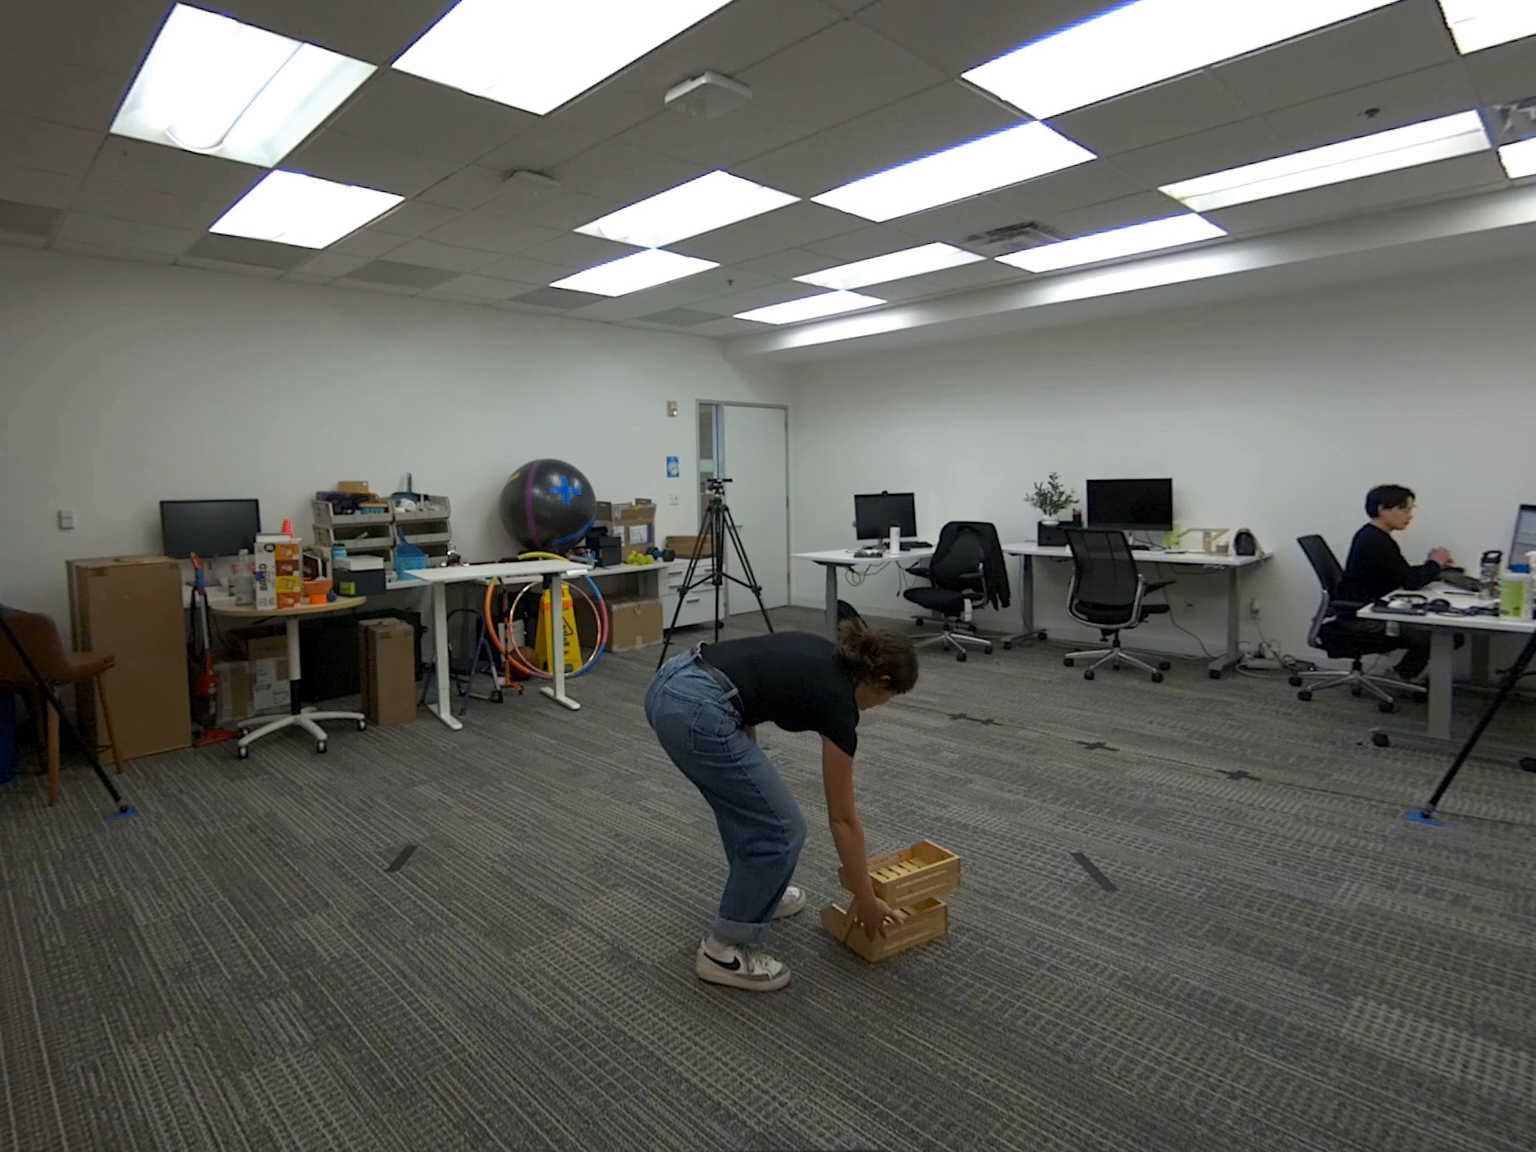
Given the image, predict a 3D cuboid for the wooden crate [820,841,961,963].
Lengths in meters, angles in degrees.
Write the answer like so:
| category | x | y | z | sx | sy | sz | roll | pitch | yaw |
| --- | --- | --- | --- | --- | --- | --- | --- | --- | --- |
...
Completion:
| category | x | y | z | sx | sy | sz | roll | pitch | yaw |
| --- | --- | --- | --- | --- | --- | --- | --- | --- | --- |
| wooden crate | 0.368 | 0.956 | 2.609 | 0.316 | 0.272 | 0.311 | -5 | 7 | -33 |
